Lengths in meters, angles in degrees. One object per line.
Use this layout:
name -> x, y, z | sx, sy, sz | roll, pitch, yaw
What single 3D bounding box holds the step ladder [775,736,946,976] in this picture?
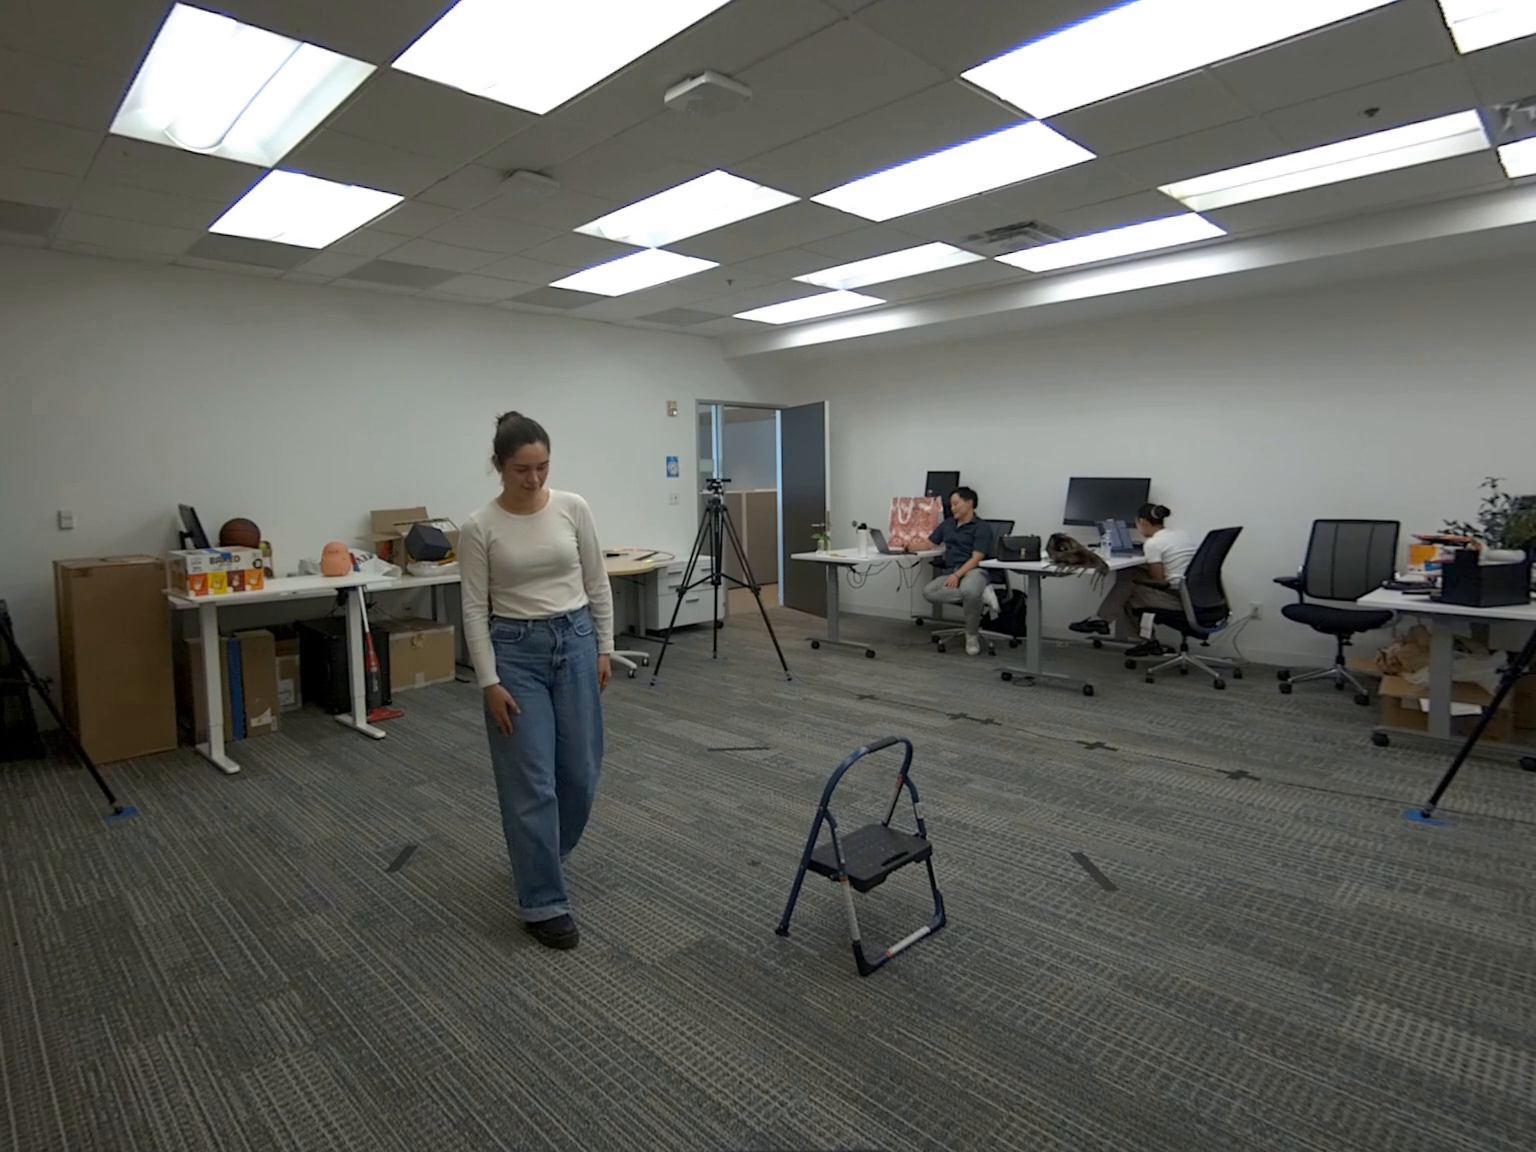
step ladder -> 0.288, 0.788, 2.627 | 0.419, 0.604, 0.360 | -5, 7, -44
